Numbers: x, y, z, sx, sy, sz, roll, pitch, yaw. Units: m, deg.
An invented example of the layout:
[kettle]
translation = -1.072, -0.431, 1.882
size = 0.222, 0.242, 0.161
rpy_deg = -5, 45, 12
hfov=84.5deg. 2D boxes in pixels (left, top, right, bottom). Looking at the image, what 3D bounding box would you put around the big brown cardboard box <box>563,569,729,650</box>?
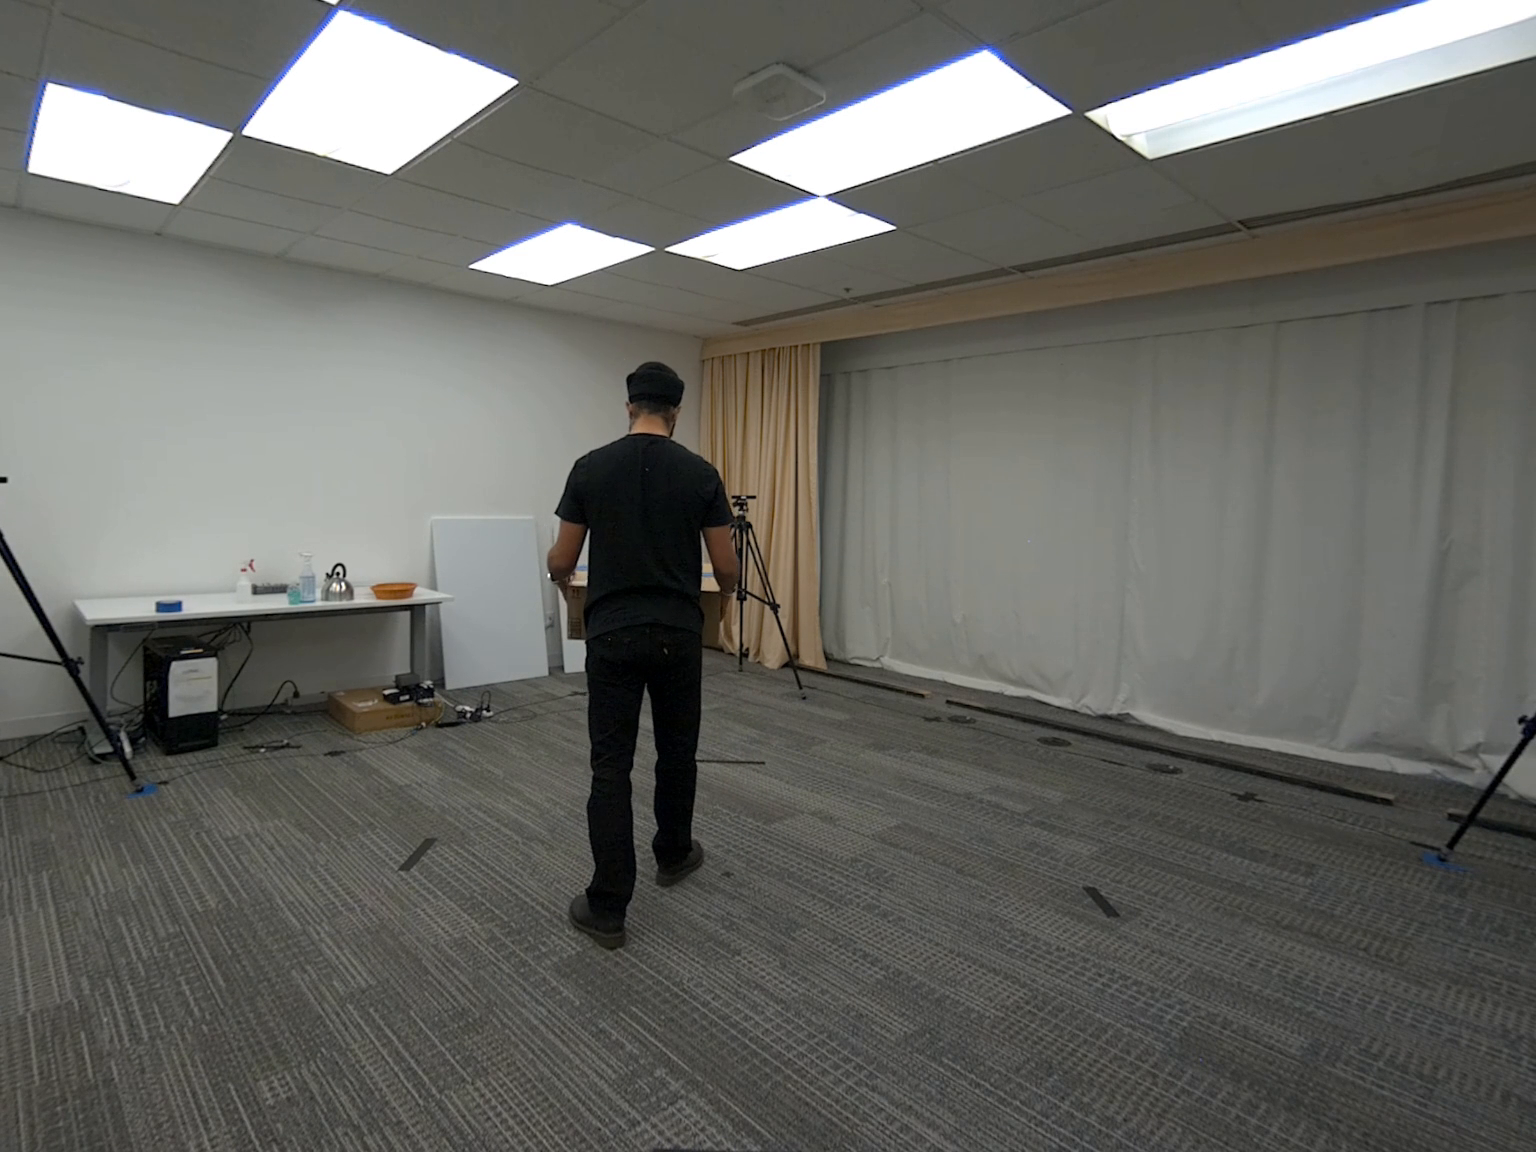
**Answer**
[big brown cardboard box]
translation = -0.474, 0.090, 3.291
size = 0.588, 0.231, 0.422
rpy_deg = 3, 12, -3
